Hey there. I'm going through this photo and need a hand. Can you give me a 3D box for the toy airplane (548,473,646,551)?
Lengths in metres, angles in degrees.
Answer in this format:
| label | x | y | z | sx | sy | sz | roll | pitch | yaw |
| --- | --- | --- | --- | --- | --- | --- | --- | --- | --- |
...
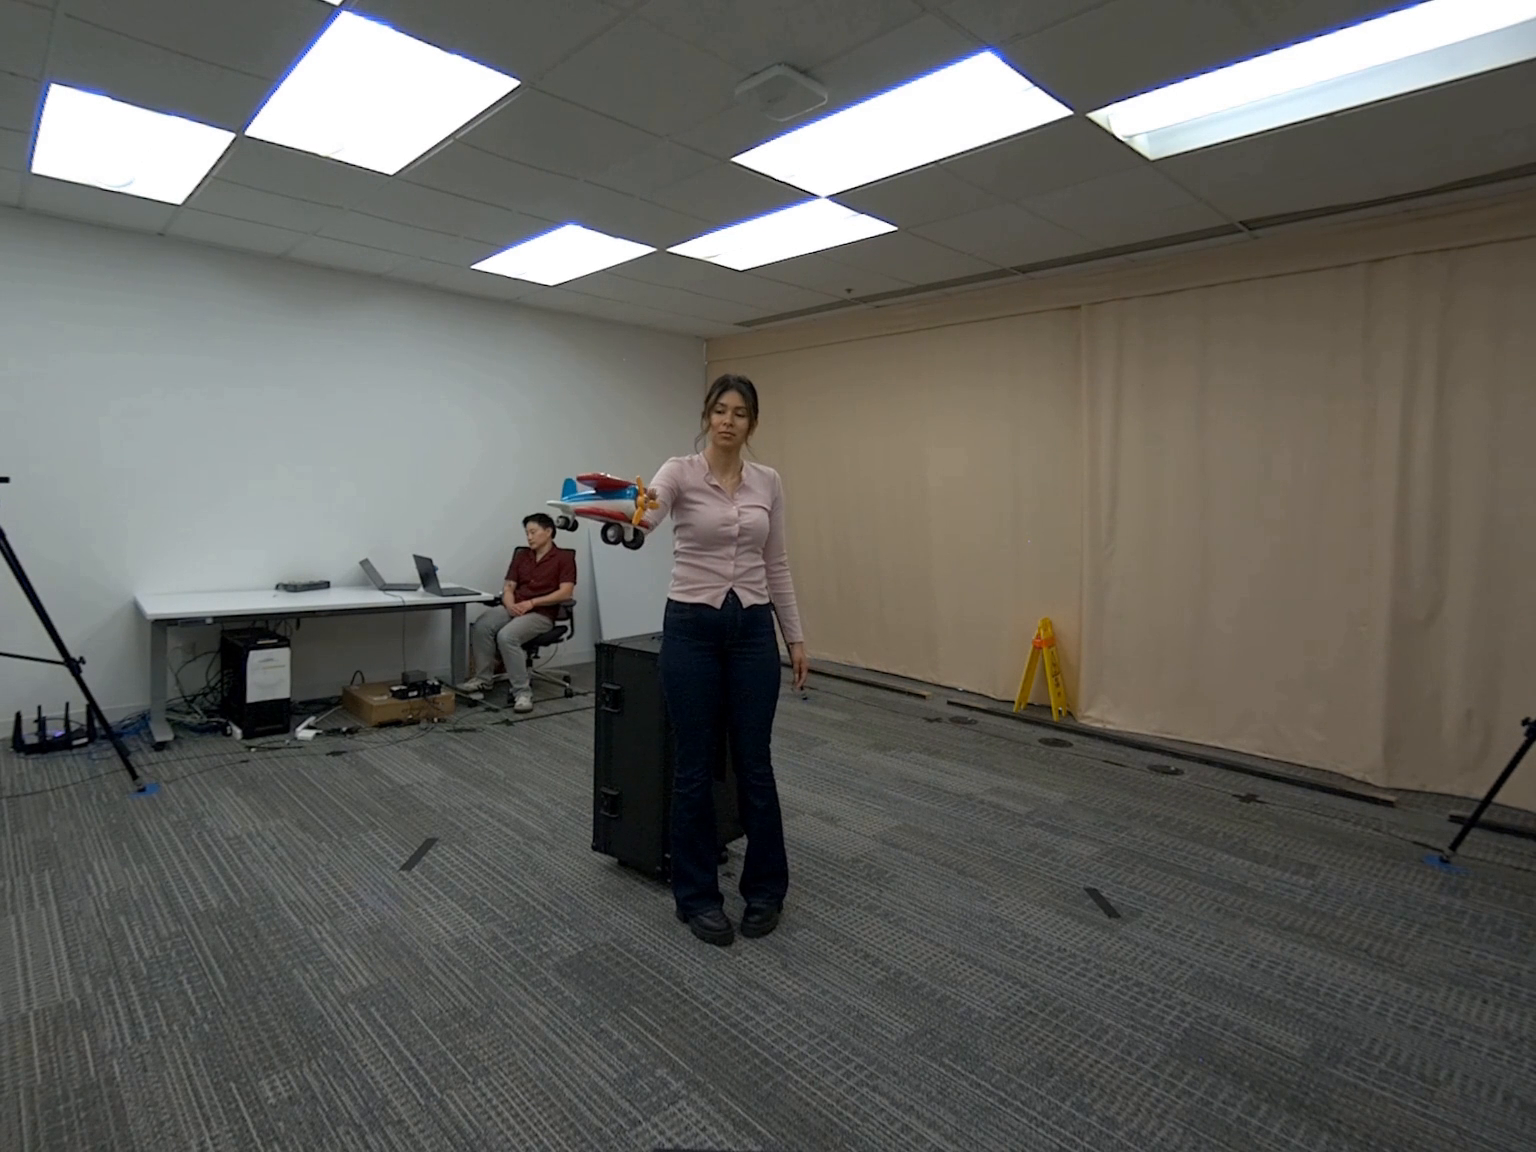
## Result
| label | x | y | z | sx | sy | sz | roll | pitch | yaw |
| --- | --- | --- | --- | --- | --- | --- | --- | --- | --- |
| toy airplane | -0.414 | -0.165 | 2.010 | 0.259 | 0.156 | 0.251 | 17 | 0 | 0 |
